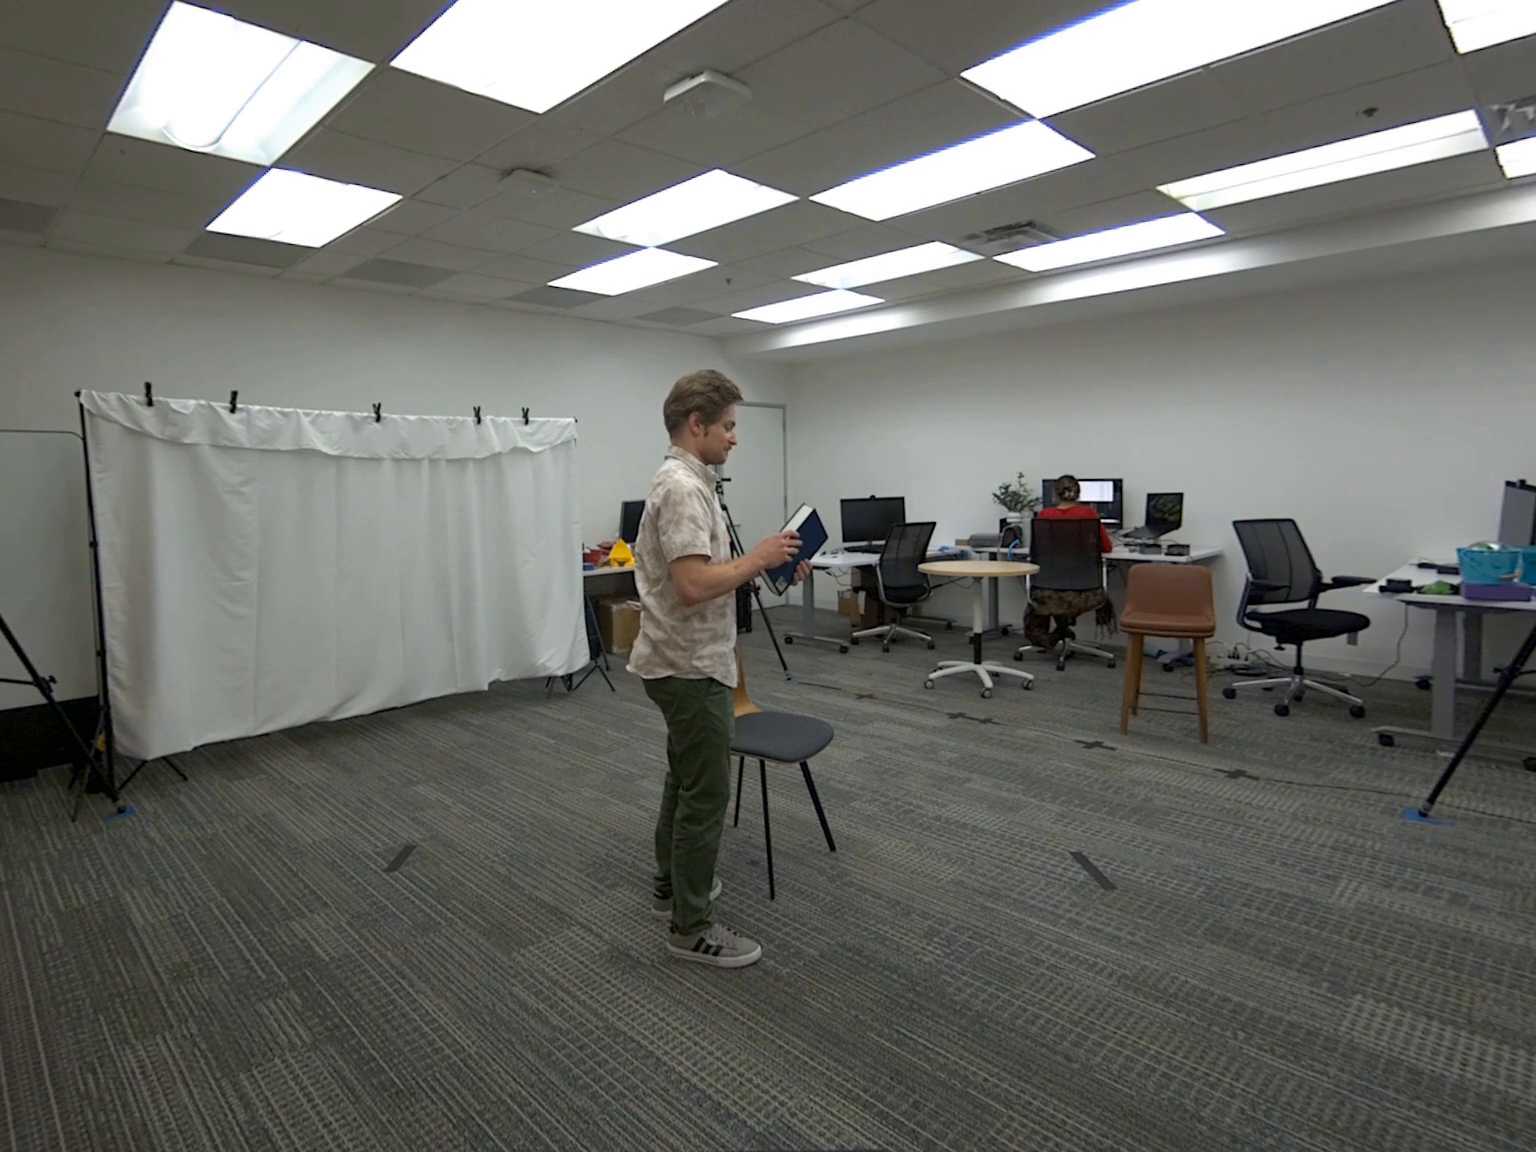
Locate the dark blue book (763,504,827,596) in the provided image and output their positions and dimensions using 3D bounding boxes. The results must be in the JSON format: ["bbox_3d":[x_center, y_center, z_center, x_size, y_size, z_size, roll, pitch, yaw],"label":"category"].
[{"bbox_3d":[0.077,-0.079,2.555,0.047,0.245,0.157,29,-19,36],"label":"dark blue book"}]
